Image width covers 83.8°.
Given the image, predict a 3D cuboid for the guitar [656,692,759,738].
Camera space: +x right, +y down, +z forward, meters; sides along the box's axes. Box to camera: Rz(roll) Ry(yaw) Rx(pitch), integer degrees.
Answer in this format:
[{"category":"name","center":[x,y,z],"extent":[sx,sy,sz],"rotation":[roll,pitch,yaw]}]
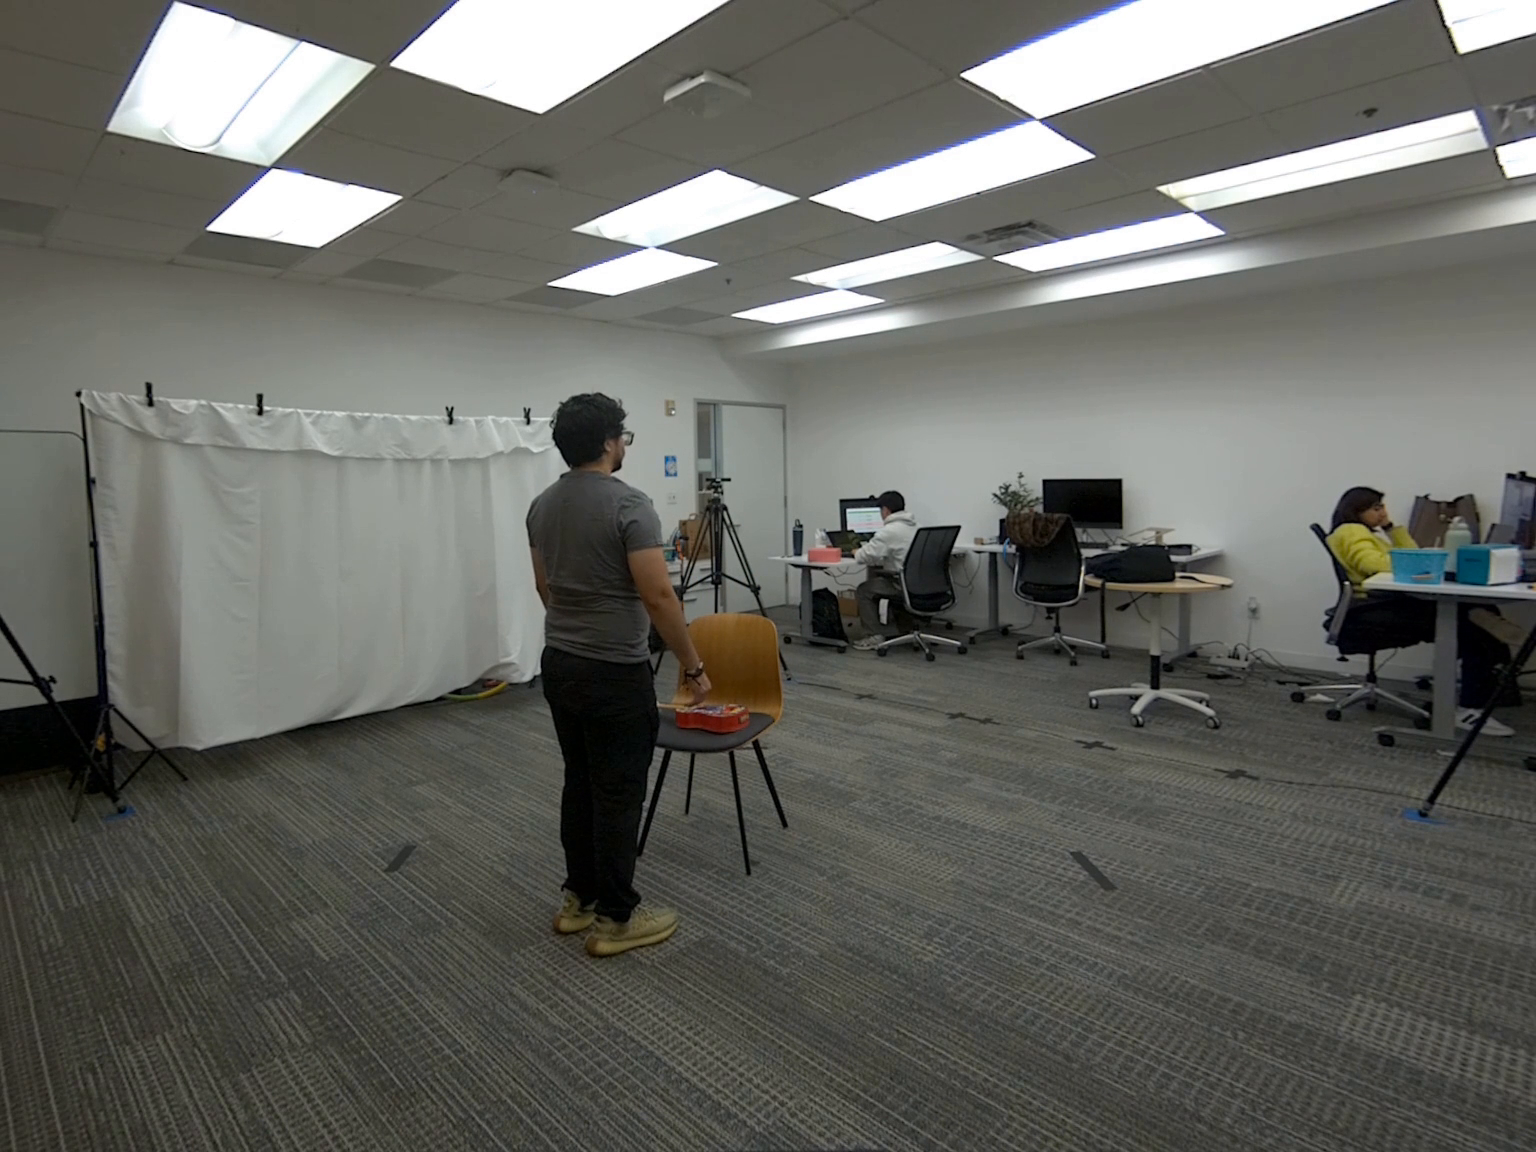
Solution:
[{"category":"guitar","center":[-0.300,0.518,3.240],"extent":[0.511,0.070,0.188],"rotation":[1,5,33]}]
